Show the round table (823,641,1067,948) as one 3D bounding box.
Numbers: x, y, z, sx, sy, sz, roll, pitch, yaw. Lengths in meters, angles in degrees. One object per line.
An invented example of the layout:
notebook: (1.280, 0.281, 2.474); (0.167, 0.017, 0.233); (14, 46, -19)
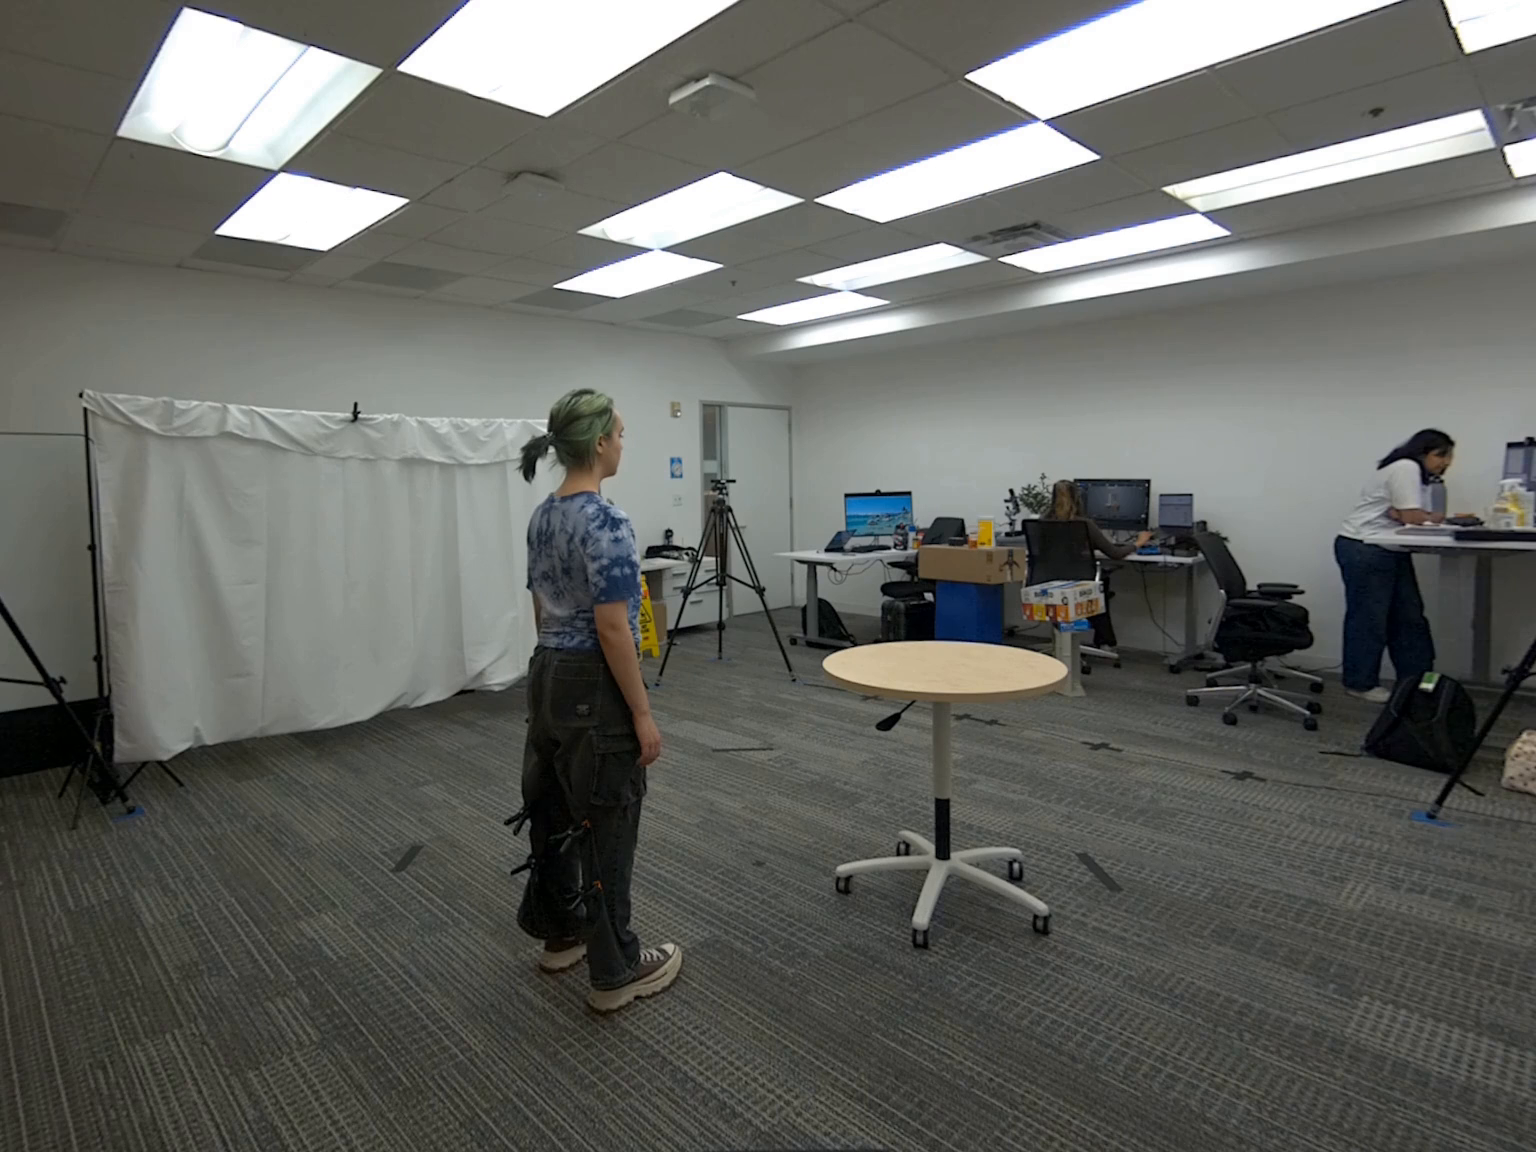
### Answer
round table: (0.572, 0.682, 2.801); (0.763, 0.791, 0.768); (-1, 5, -2)
